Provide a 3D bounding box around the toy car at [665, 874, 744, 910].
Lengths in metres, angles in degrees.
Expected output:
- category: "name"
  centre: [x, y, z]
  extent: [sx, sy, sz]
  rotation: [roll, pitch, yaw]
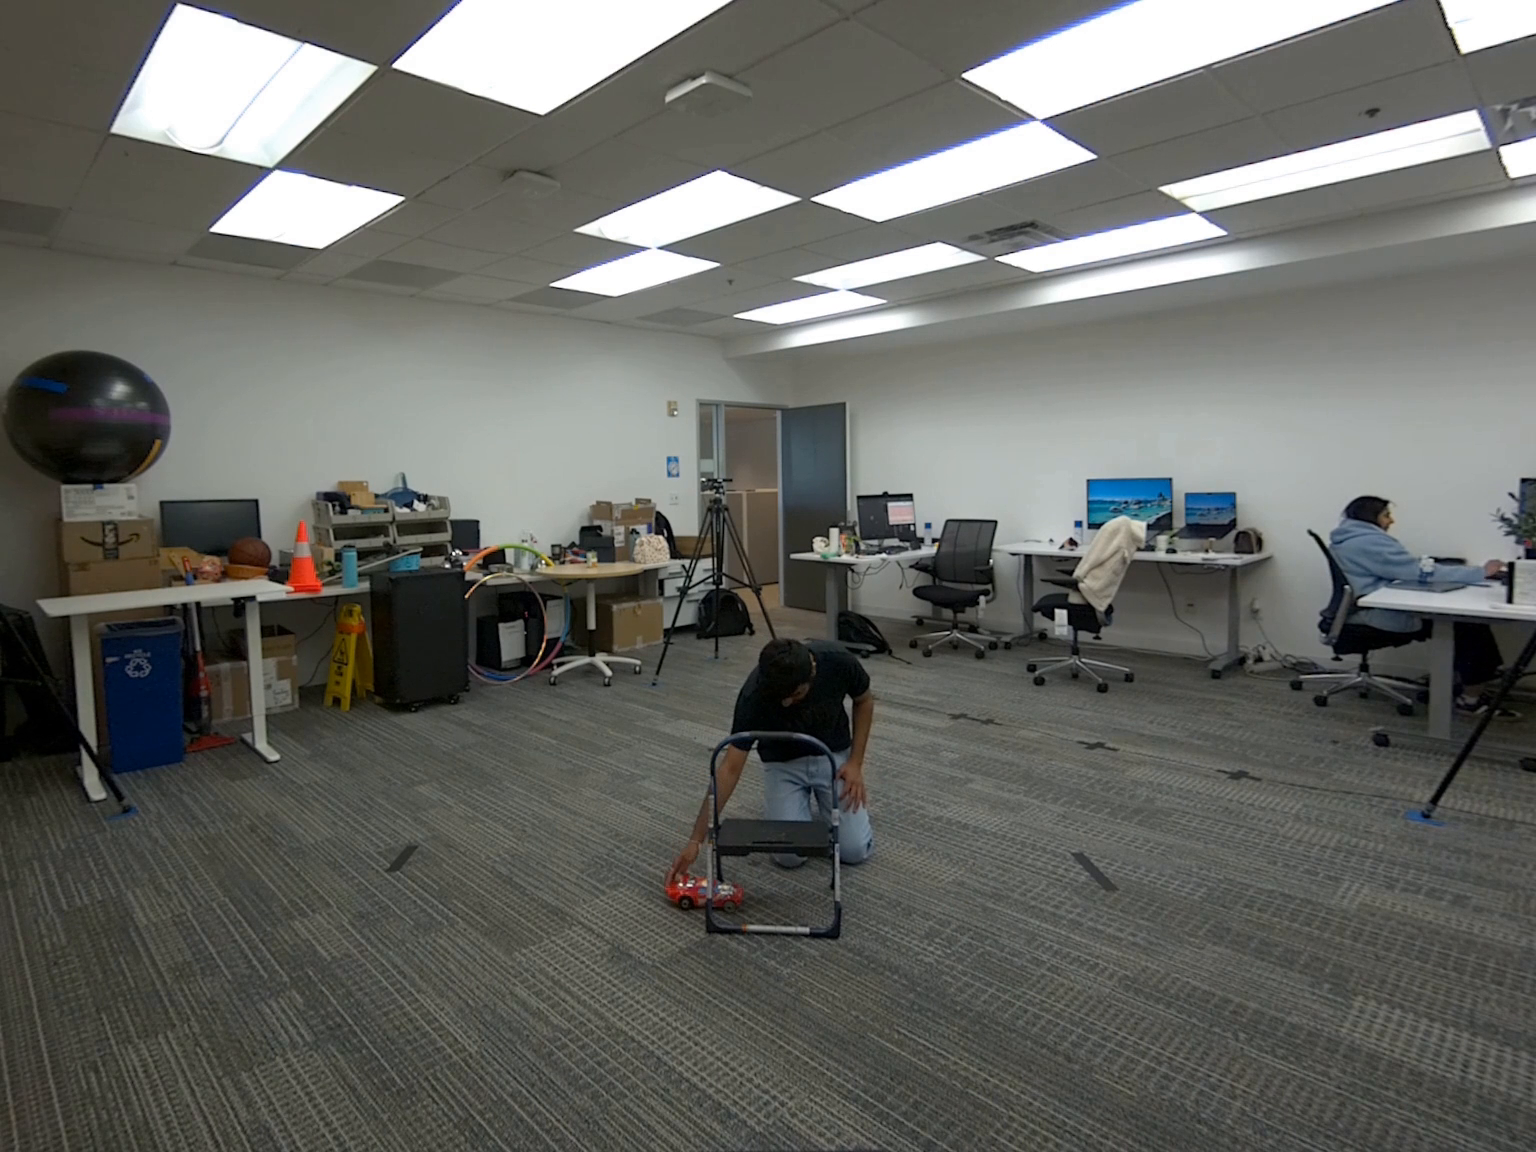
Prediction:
- category: "toy car"
  centre: [-0.189, 1.052, 2.808]
  extent: [0.255, 0.083, 0.130]
  rotation: [9, 8, 3]
